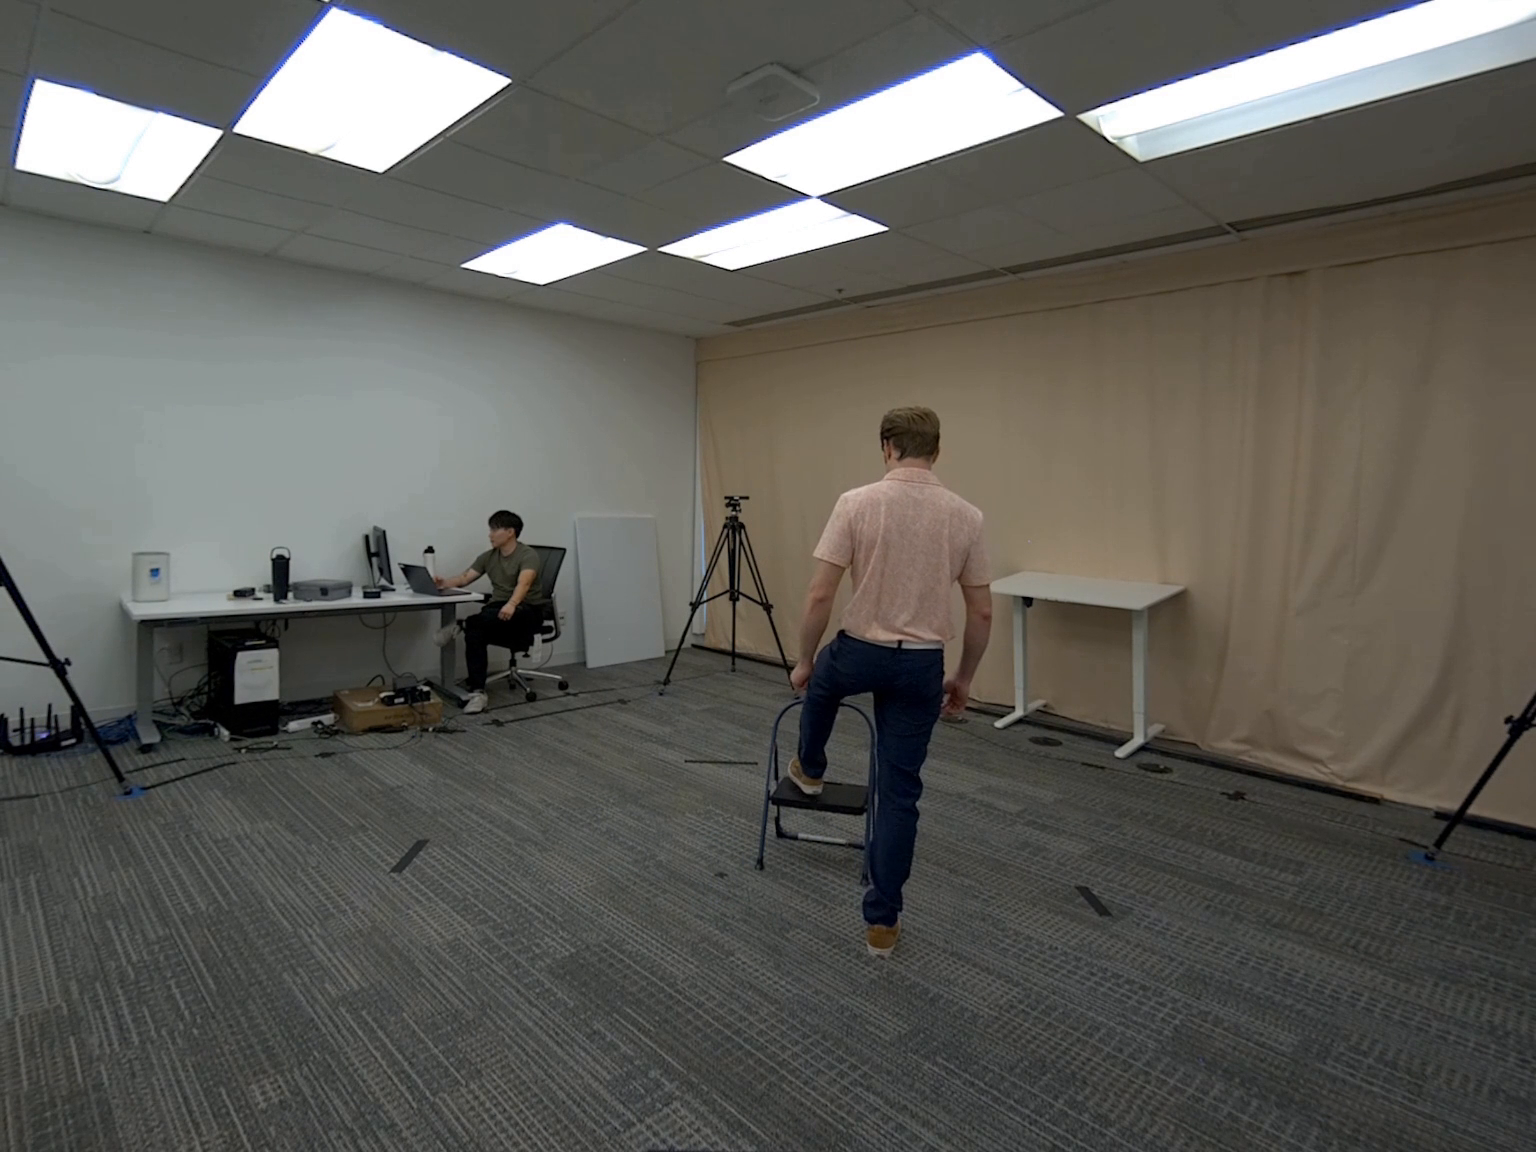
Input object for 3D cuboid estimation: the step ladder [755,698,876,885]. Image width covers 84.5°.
[{"bbox_3d":[0.200,0.798,3.252,0.436,0.605,0.345,2,3,15],"label":"step ladder"}]
